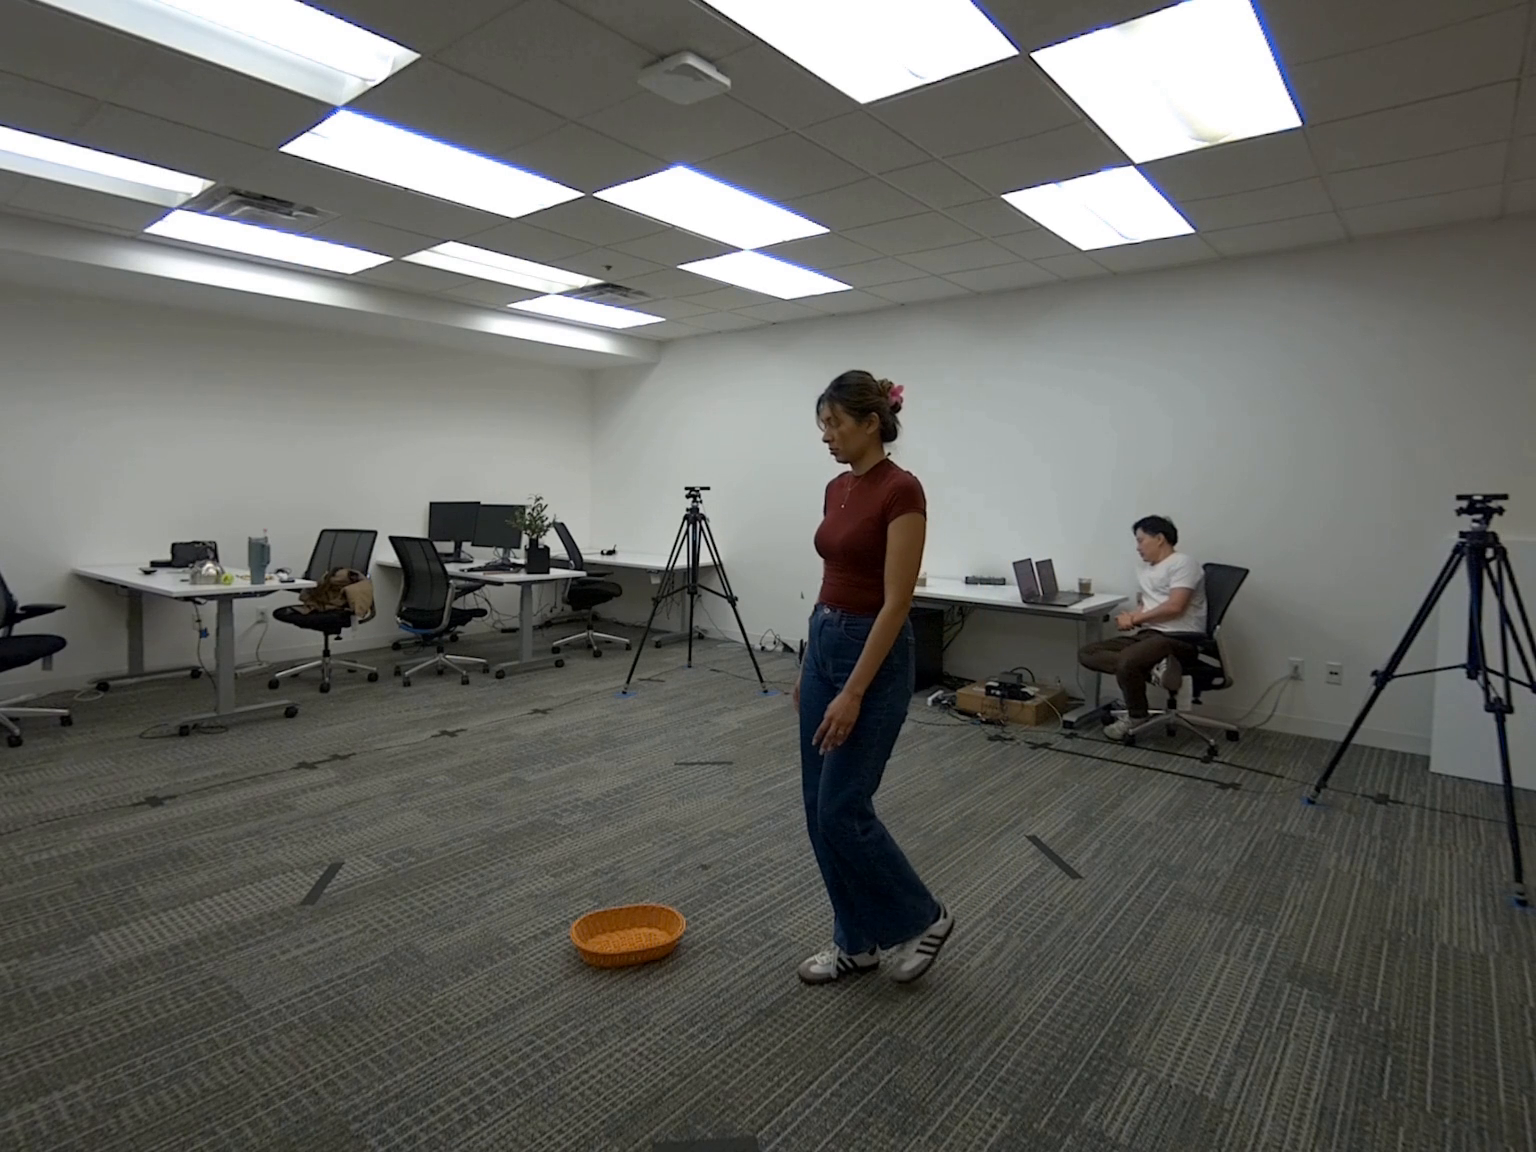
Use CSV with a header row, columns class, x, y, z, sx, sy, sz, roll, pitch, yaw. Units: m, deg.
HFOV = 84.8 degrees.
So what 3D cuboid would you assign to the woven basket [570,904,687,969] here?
class,x,y,z,sx,sy,sz,roll,pitch,yaw
woven basket,-0.424,1.080,2.546,0.344,0.073,0.258,-1,7,-18
